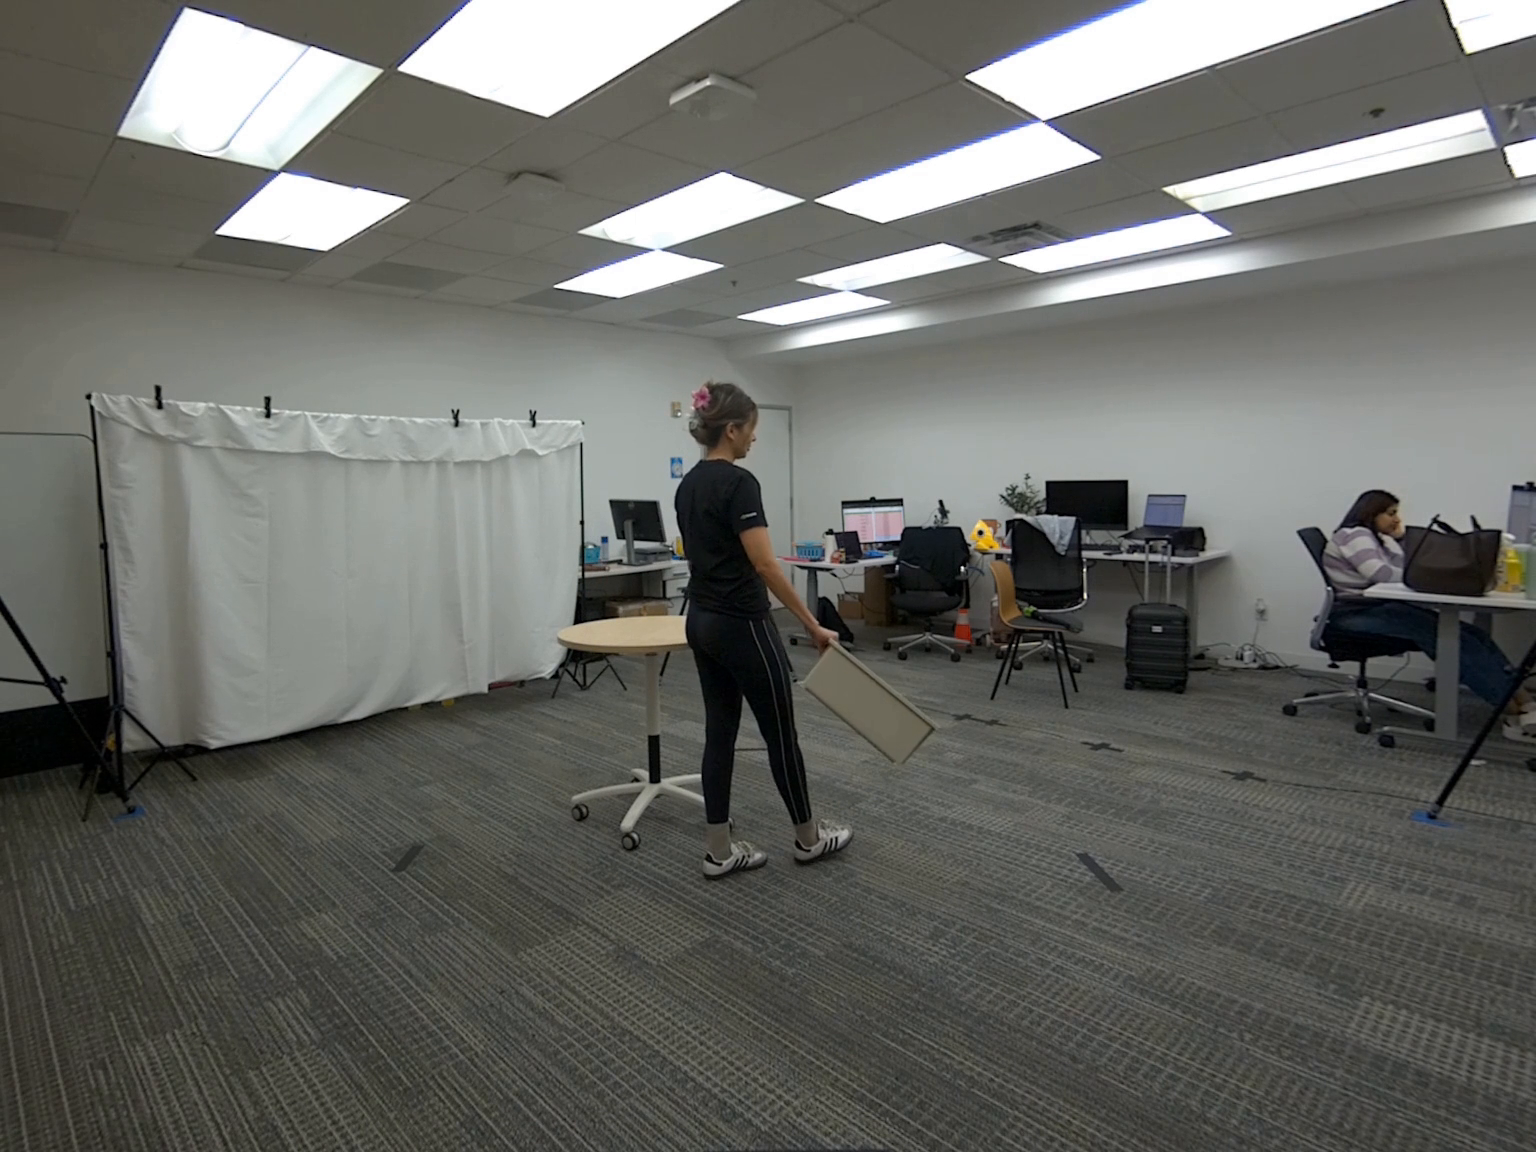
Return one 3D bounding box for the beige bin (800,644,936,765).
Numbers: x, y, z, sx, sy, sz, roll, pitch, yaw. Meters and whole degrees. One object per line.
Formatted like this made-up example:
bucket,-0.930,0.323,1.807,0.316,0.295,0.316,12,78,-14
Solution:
beige bin,0.333,0.427,2.814,0.430,0.189,0.370,40,0,13
